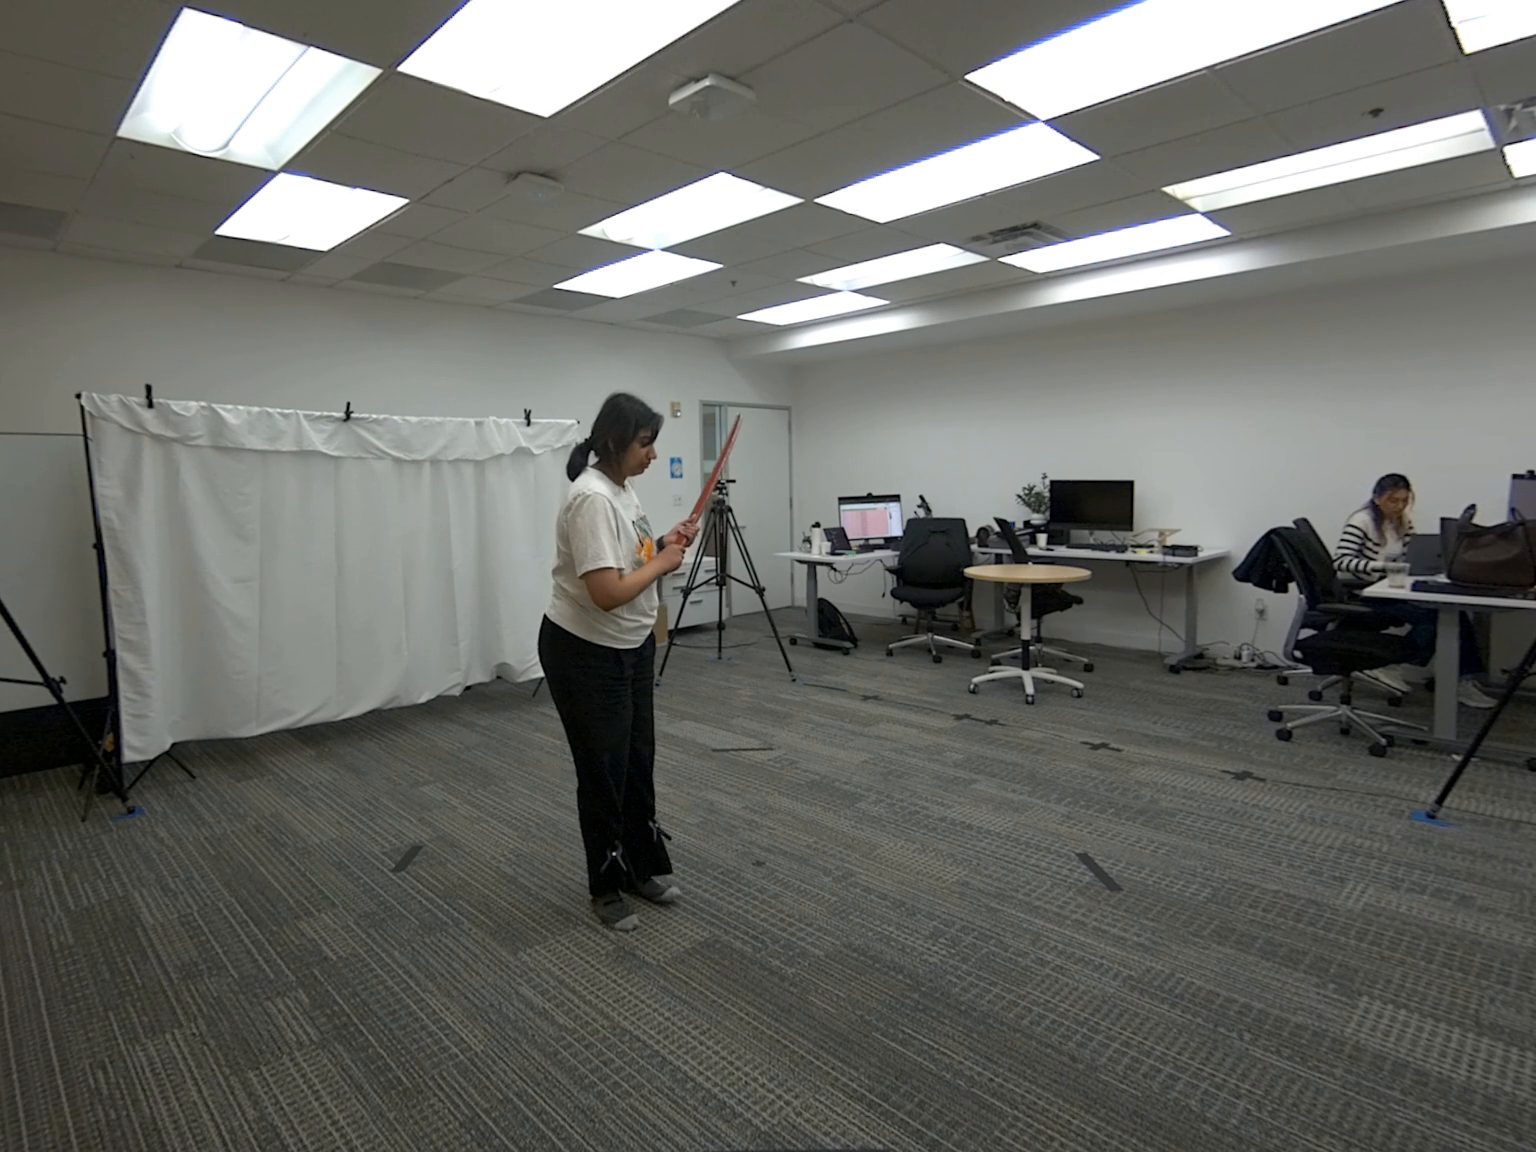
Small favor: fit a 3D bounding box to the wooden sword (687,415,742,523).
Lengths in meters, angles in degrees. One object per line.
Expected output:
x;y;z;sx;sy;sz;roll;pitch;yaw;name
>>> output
-0.198;-0.336;3.091;0.051;0.024;1.041;29;41;-10;wooden sword
